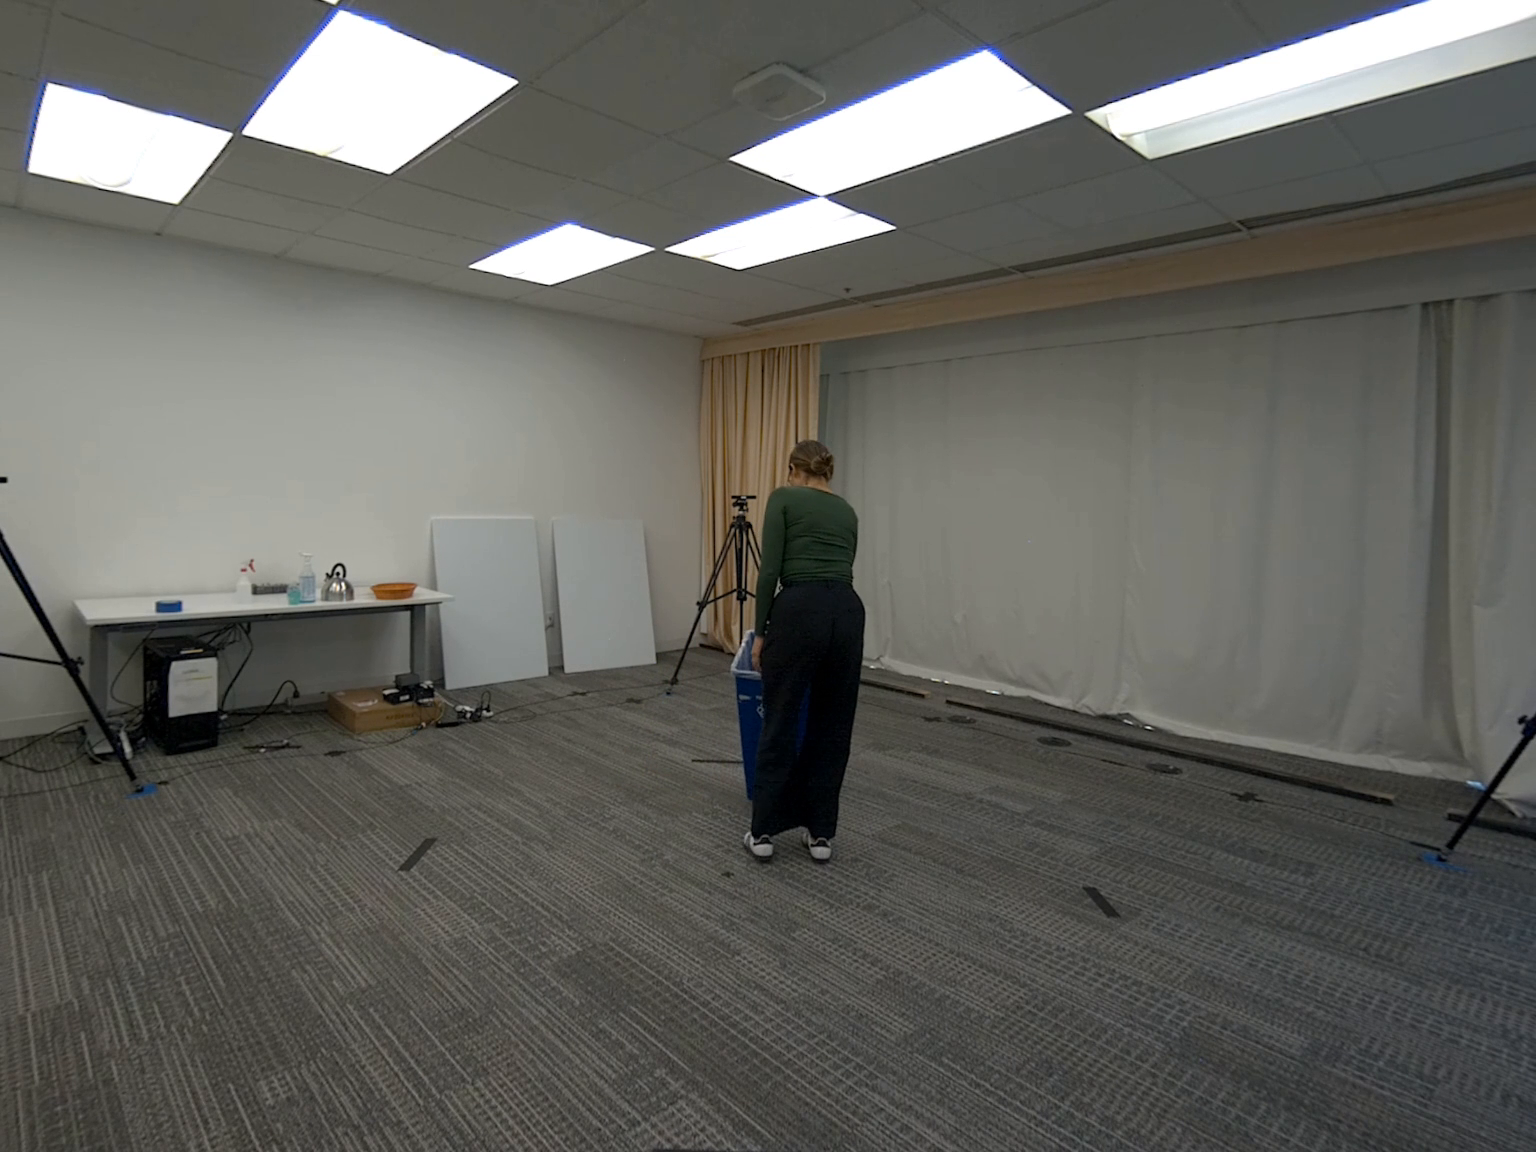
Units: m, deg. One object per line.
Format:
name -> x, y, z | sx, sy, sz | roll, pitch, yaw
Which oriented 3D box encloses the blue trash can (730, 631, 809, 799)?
blue trash can -> 0.049, 0.657, 3.851 | 0.381, 0.701, 0.377 | 1, 25, 10
